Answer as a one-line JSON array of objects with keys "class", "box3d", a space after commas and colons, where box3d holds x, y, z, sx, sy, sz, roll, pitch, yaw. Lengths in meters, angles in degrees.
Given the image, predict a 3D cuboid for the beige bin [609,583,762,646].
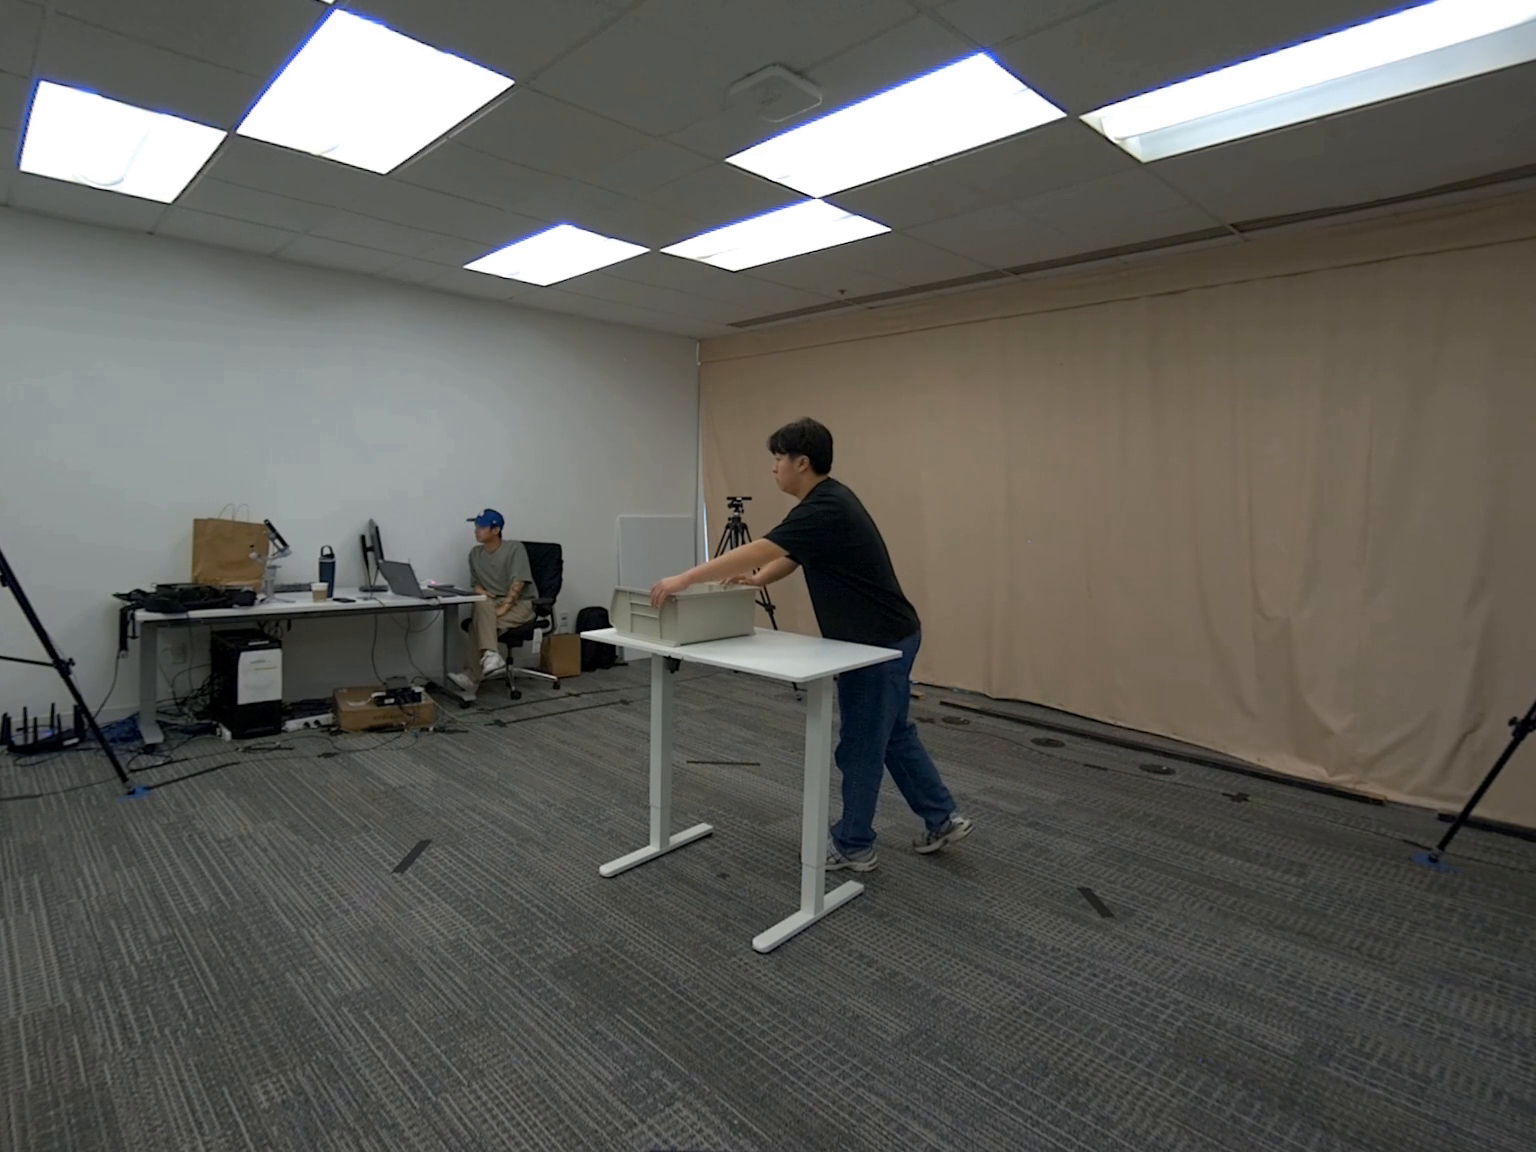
[{"class": "beige bin", "box3d": [-0.312, 0.129, 3.109, 0.387, 0.188, 0.413, 9, 9, 43]}]
